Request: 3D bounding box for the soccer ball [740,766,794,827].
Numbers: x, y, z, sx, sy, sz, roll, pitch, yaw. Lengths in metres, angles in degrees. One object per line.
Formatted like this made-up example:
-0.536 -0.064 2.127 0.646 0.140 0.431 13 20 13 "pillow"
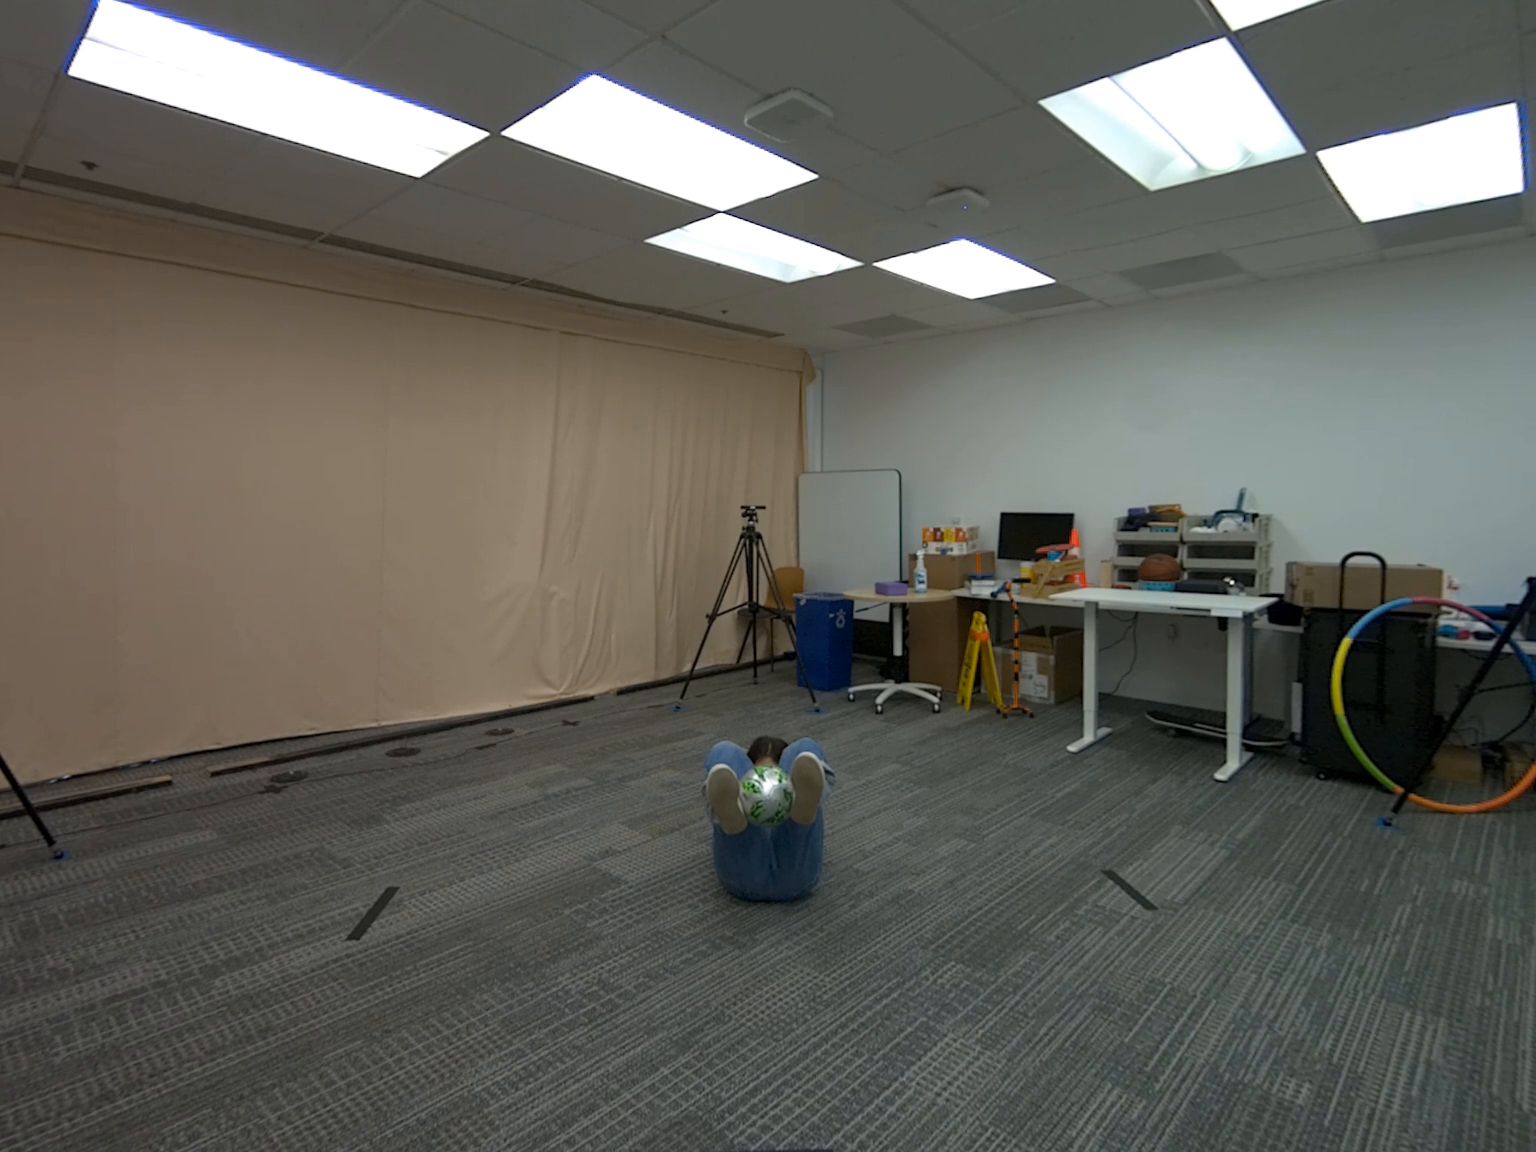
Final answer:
0.010 0.689 2.598 0.187 0.187 0.188 3 4 -2 "soccer ball"
